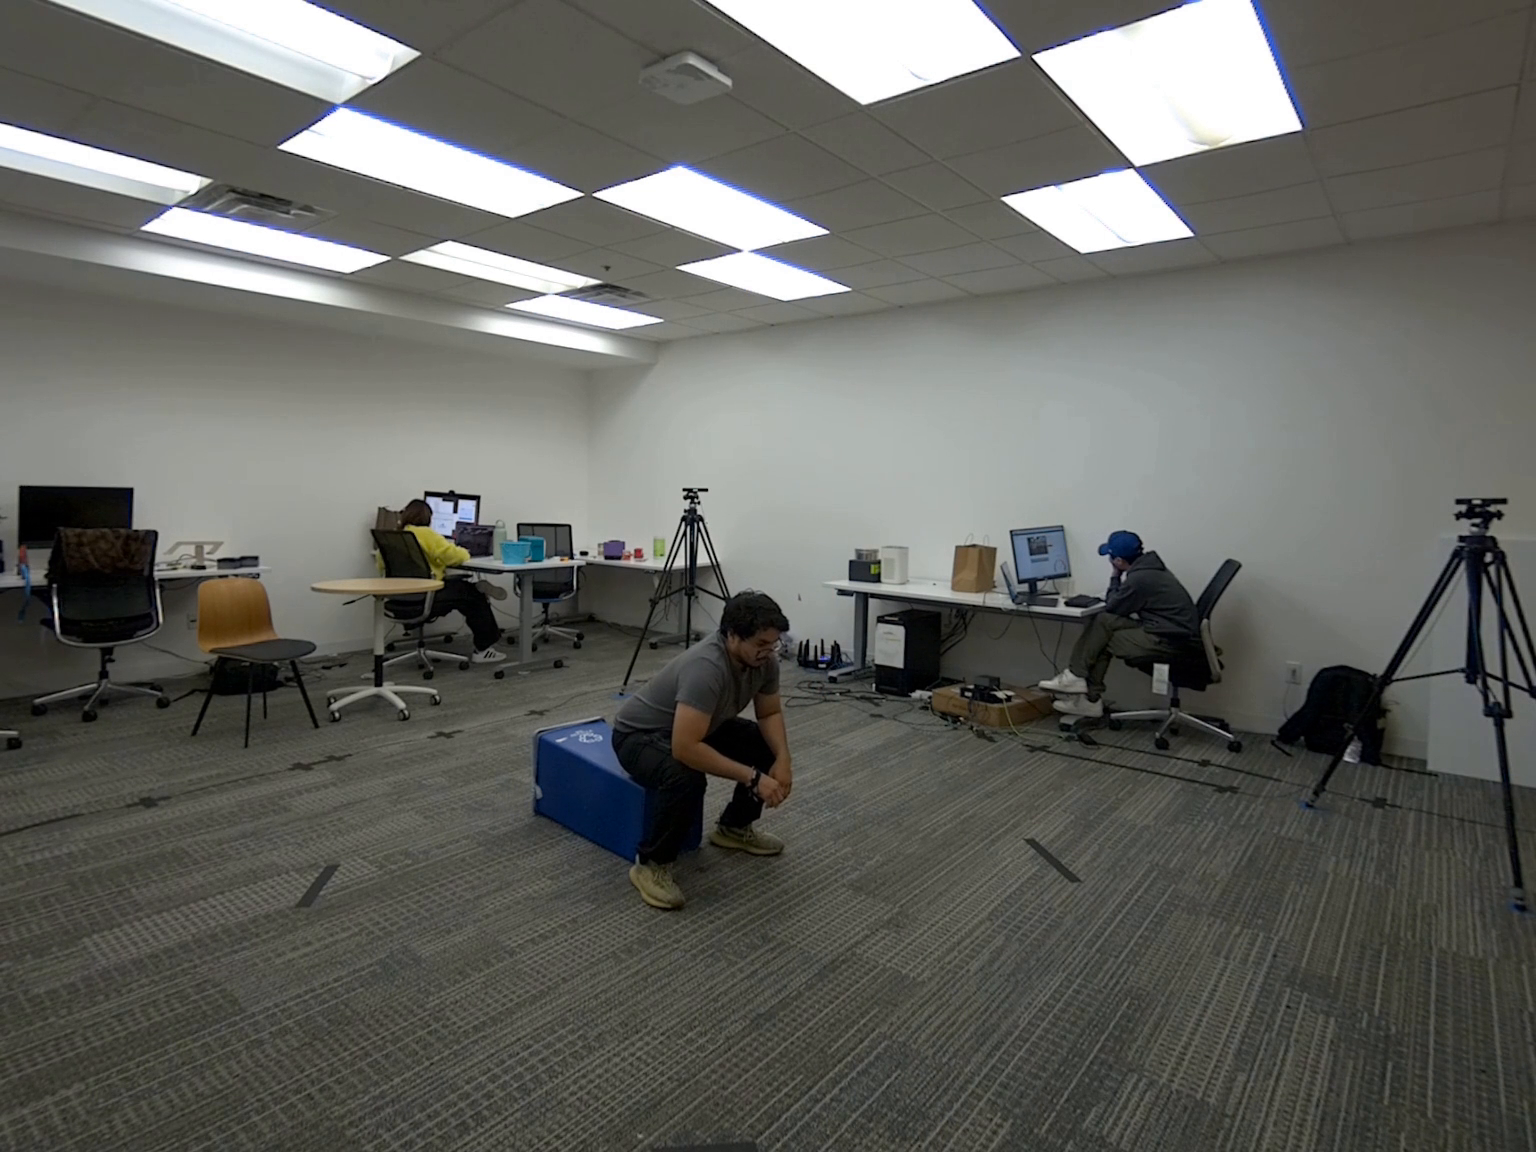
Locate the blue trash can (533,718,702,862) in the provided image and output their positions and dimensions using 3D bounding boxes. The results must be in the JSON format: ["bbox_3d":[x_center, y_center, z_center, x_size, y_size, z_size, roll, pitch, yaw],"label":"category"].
[{"bbox_3d":[-0.626,0.852,3.454,0.739,0.372,0.367,8,8,44],"label":"blue trash can"}]
